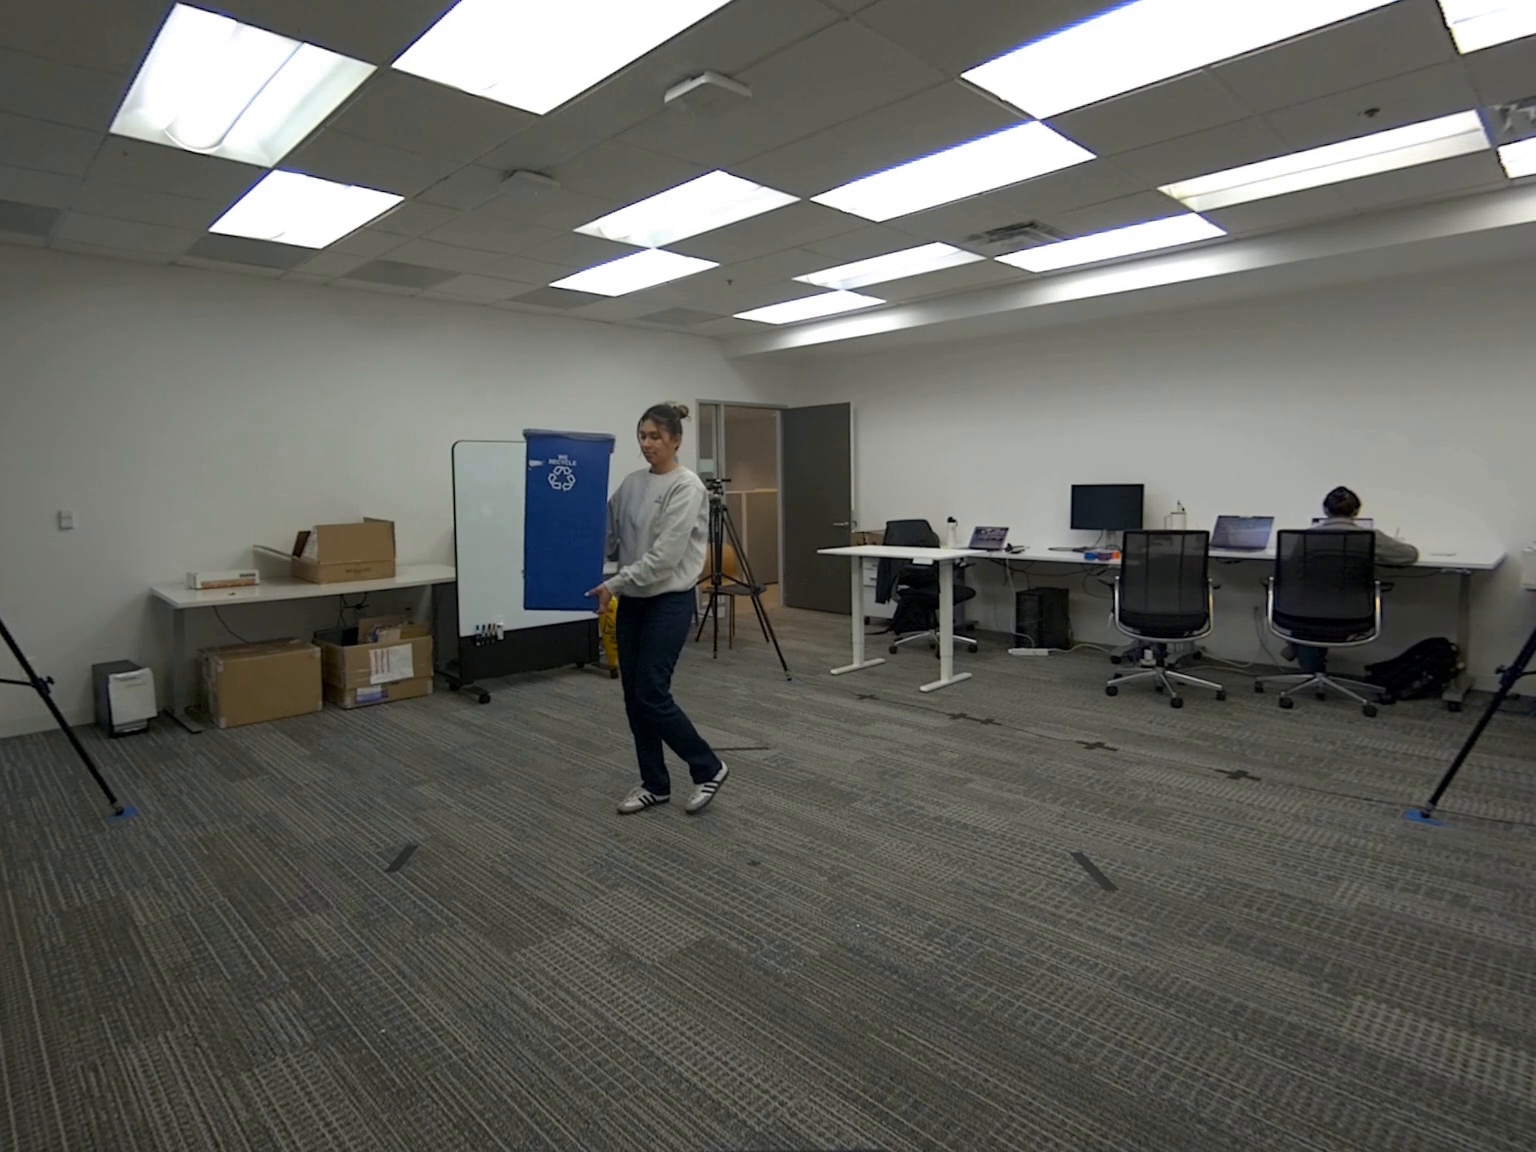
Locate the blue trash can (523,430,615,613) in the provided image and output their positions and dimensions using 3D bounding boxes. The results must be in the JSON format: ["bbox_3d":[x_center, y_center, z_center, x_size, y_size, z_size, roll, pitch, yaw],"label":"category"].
[{"bbox_3d":[-0.821,-0.217,3.530,0.370,0.716,0.380,1,-4,-11],"label":"blue trash can"}]
